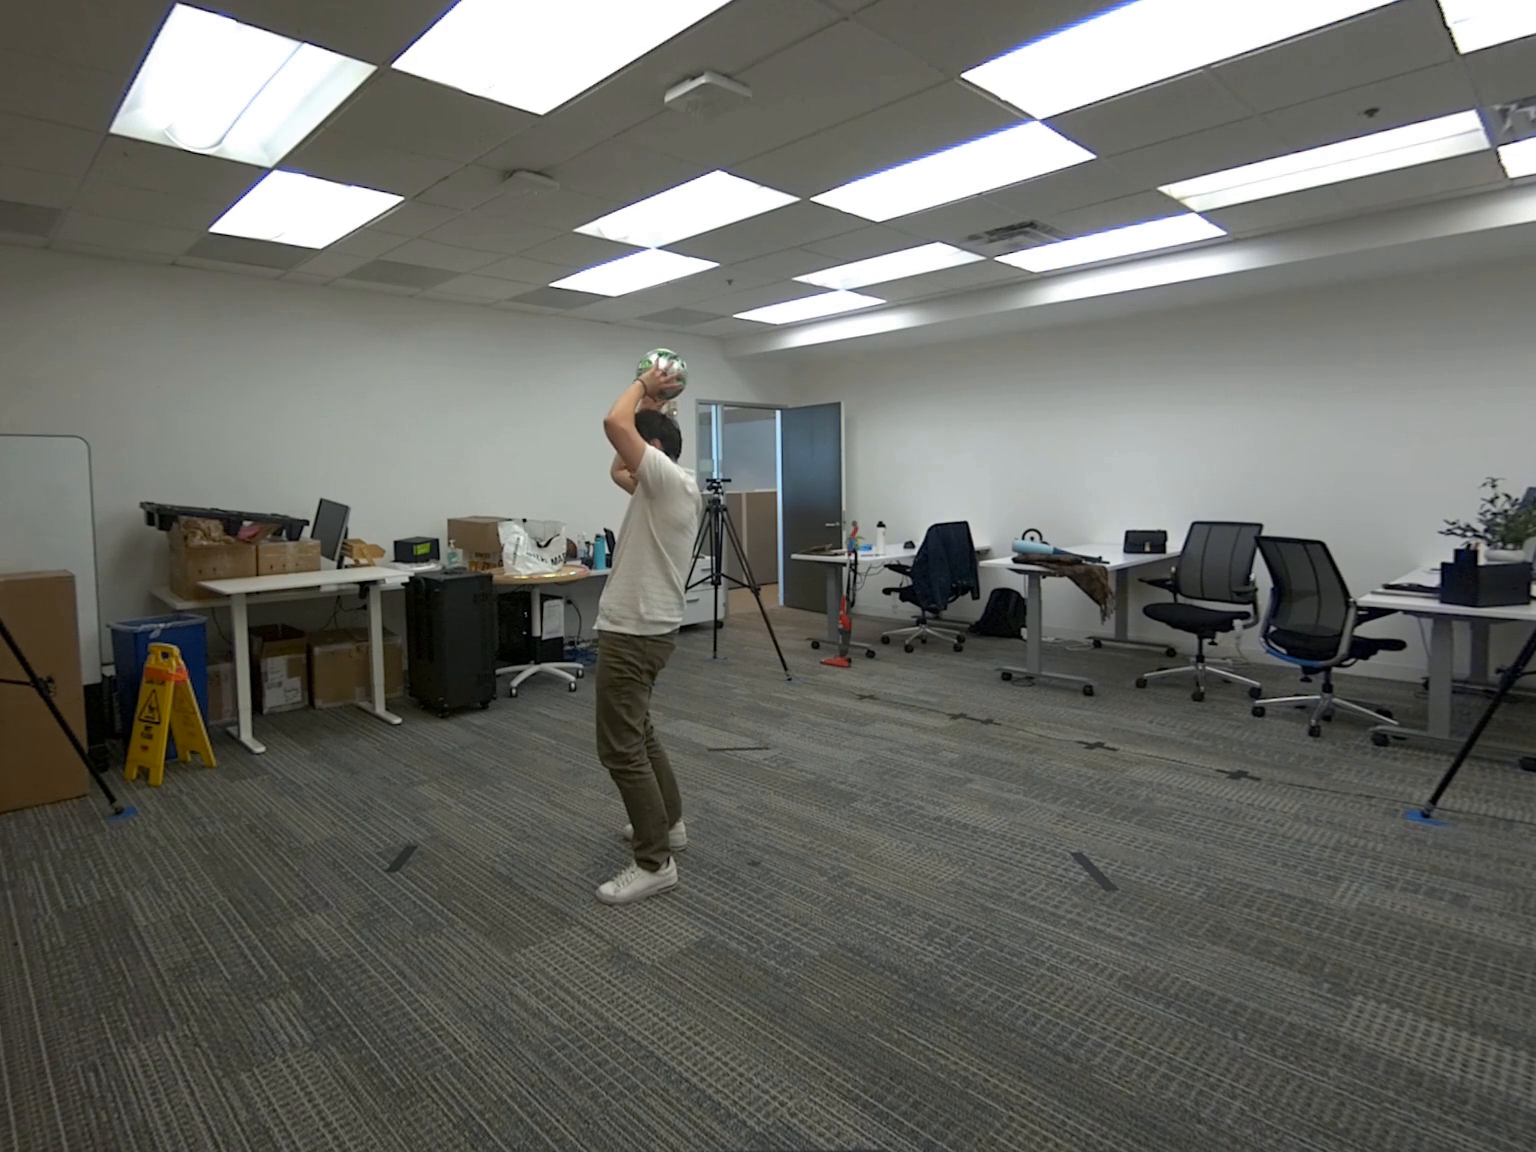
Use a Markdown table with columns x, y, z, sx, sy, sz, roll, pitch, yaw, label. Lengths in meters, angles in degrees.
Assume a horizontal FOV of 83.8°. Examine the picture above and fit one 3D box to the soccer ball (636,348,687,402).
| x | y | z | sx | sy | sz | roll | pitch | yaw | label |
| --- | --- | --- | --- | --- | --- | --- | --- | --- | --- |
| -0.390 | -0.730 | 3.114 | 0.187 | 0.187 | 0.188 | -1 | 5 | -2 | soccer ball |
